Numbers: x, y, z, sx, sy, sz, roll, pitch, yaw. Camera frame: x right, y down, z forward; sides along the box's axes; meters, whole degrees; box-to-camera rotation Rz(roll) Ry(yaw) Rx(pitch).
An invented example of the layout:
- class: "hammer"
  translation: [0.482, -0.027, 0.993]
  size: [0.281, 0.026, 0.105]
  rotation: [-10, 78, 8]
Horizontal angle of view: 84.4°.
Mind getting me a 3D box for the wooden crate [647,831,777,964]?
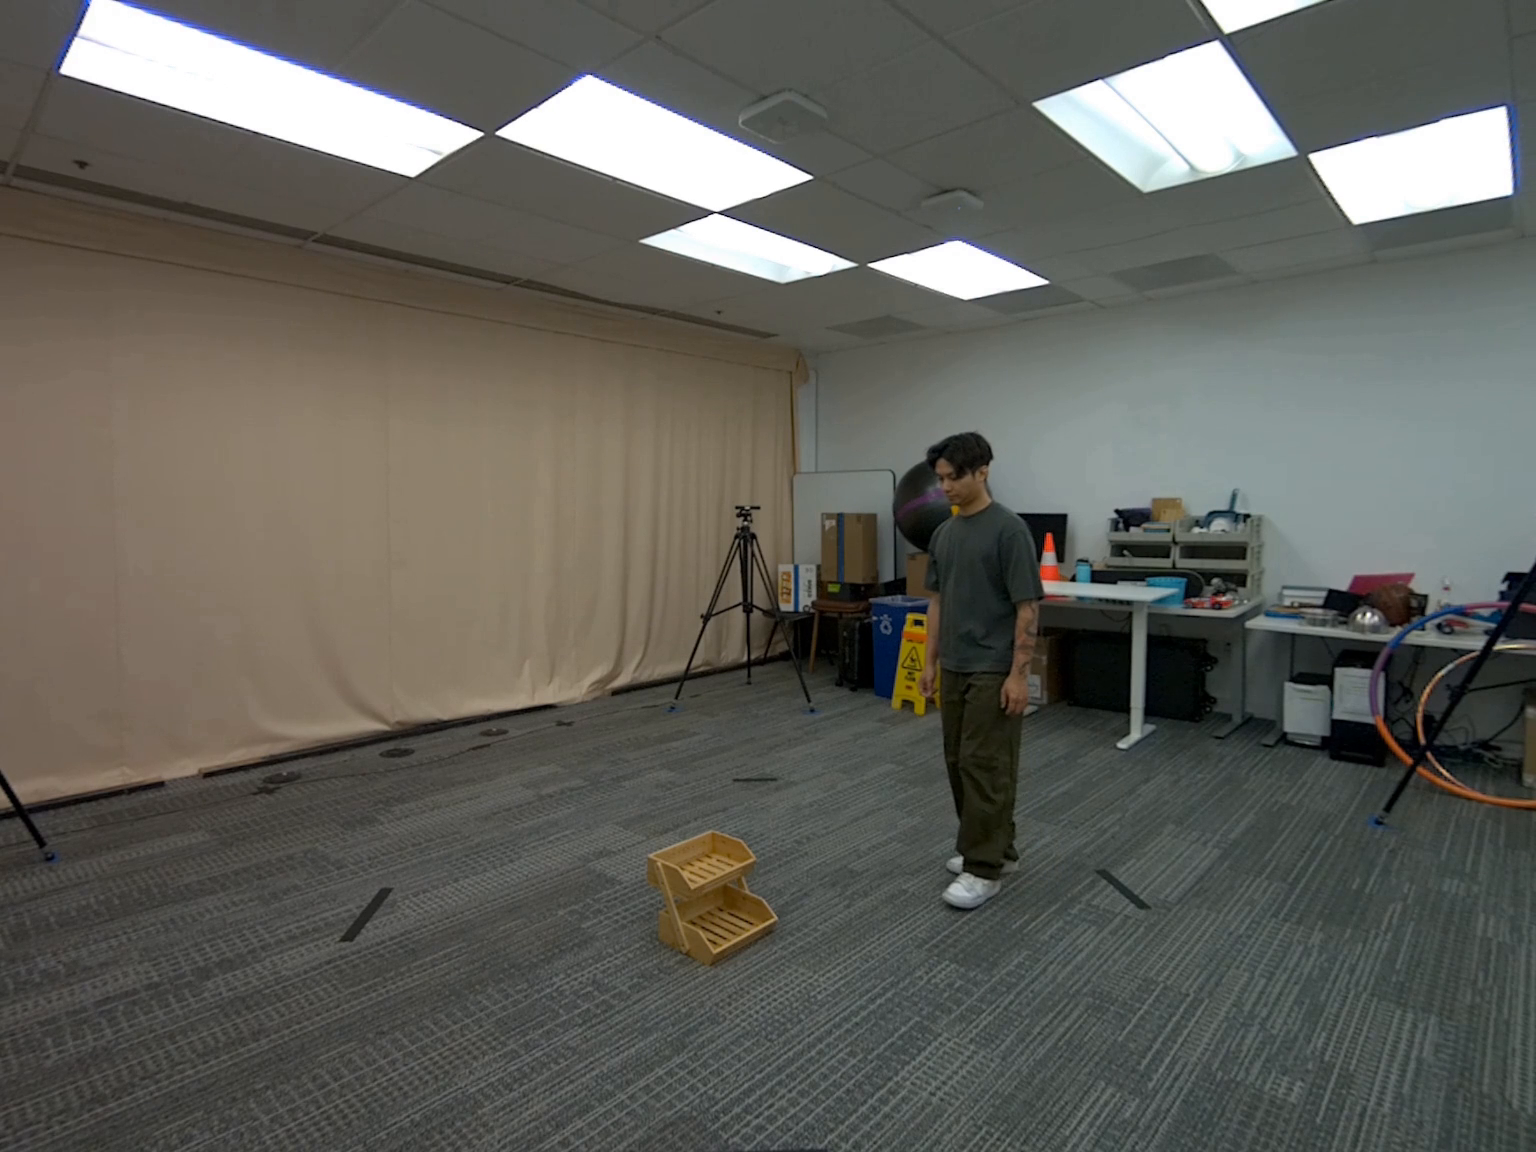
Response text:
- class: "wooden crate"
  translation: [-0.177, 1.034, 2.732]
  size: [0.312, 0.273, 0.314]
  rotation: [3, 5, 43]
